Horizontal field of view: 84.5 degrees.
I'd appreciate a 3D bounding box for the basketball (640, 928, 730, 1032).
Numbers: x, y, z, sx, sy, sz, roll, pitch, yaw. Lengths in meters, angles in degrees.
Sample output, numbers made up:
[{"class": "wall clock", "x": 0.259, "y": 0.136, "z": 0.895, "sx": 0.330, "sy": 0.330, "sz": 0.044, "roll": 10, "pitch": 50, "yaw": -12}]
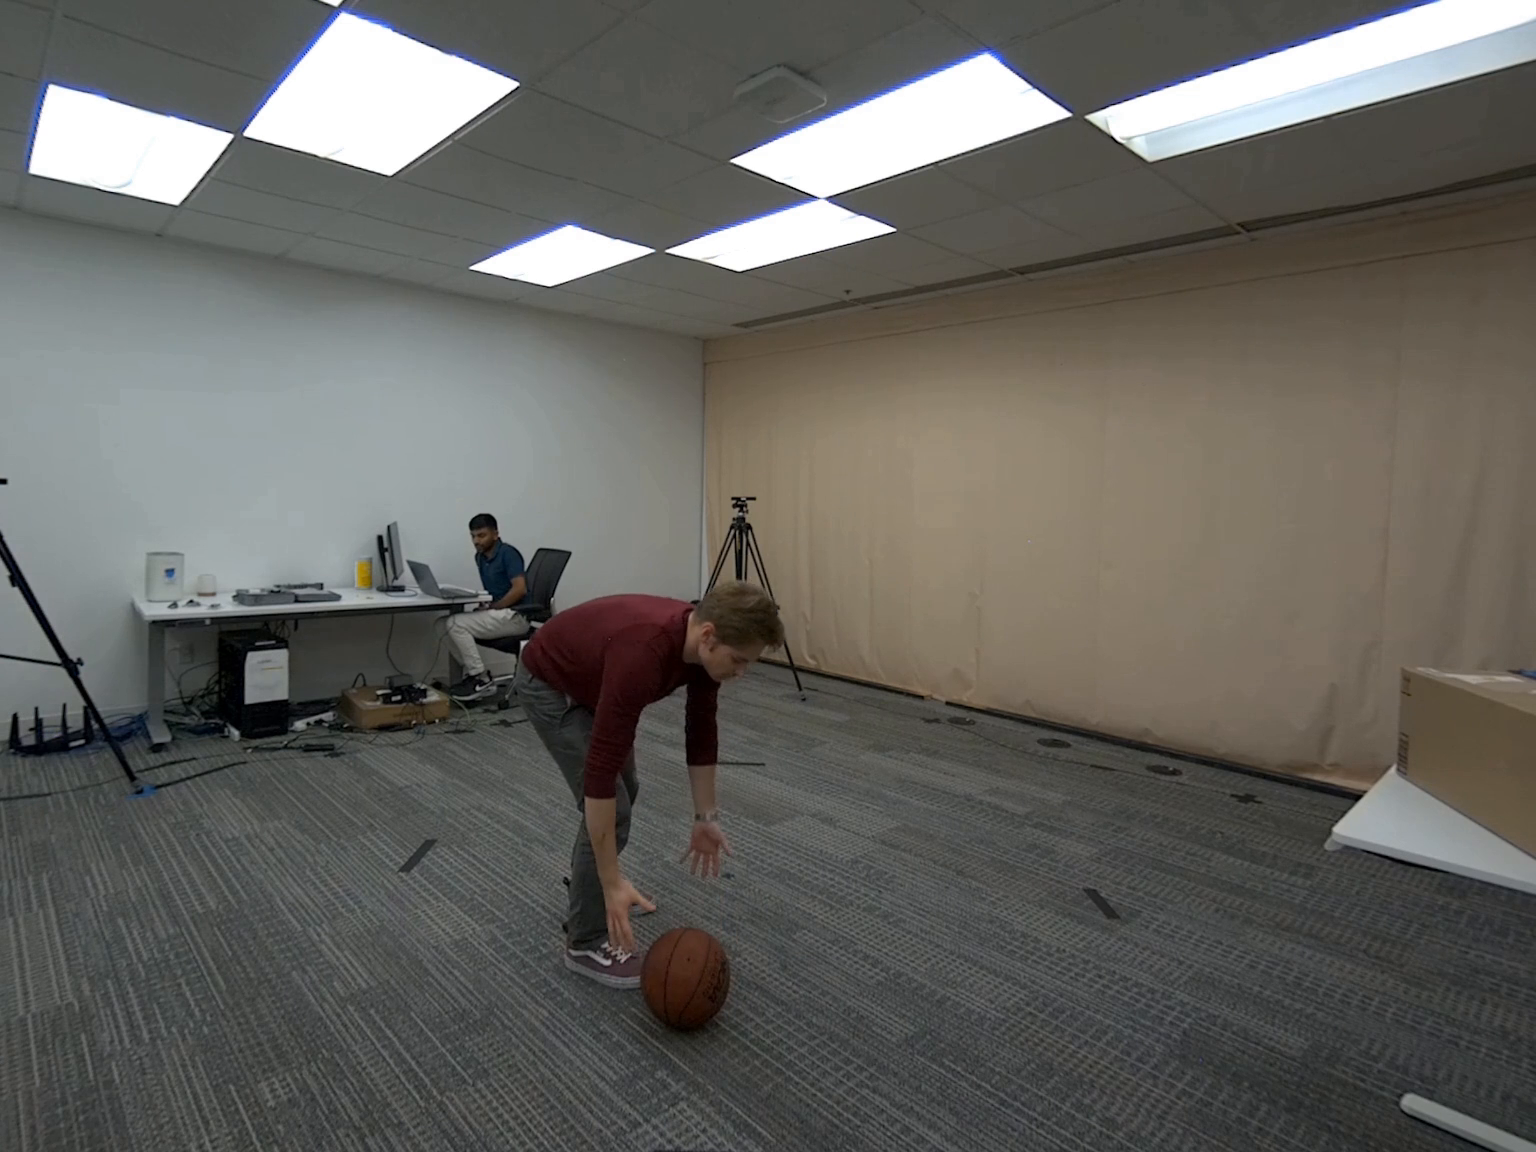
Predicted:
[{"class": "basketball", "x": -0.223, "y": 1.068, "z": 2.232, "sx": 0.236, "sy": 0.235, "sz": 0.237, "roll": 1, "pitch": 4, "yaw": -1}]
